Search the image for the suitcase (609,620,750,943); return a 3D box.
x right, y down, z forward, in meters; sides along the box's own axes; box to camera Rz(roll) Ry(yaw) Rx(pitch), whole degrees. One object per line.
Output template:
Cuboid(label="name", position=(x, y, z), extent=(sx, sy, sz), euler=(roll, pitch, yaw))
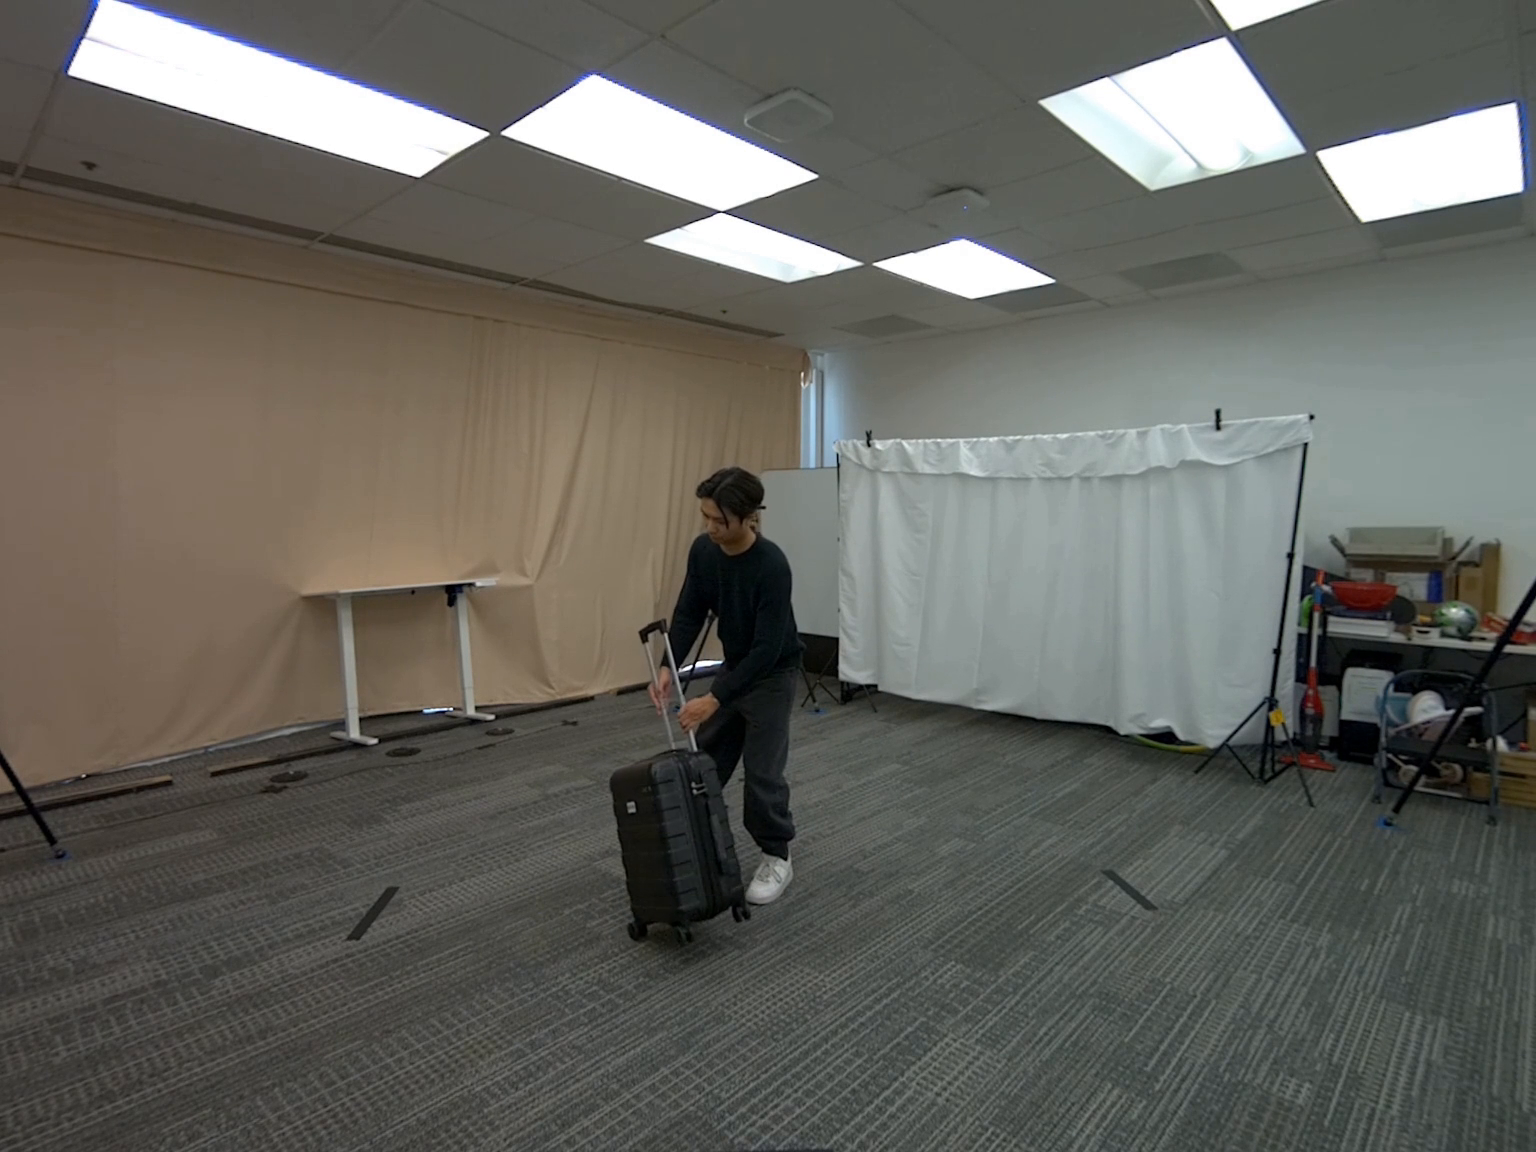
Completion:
Cuboid(label="suitcase", position=(-0.353, 0.654, 2.744), extent=(0.249, 0.988, 0.391), euler=(-5, -14, -39))
